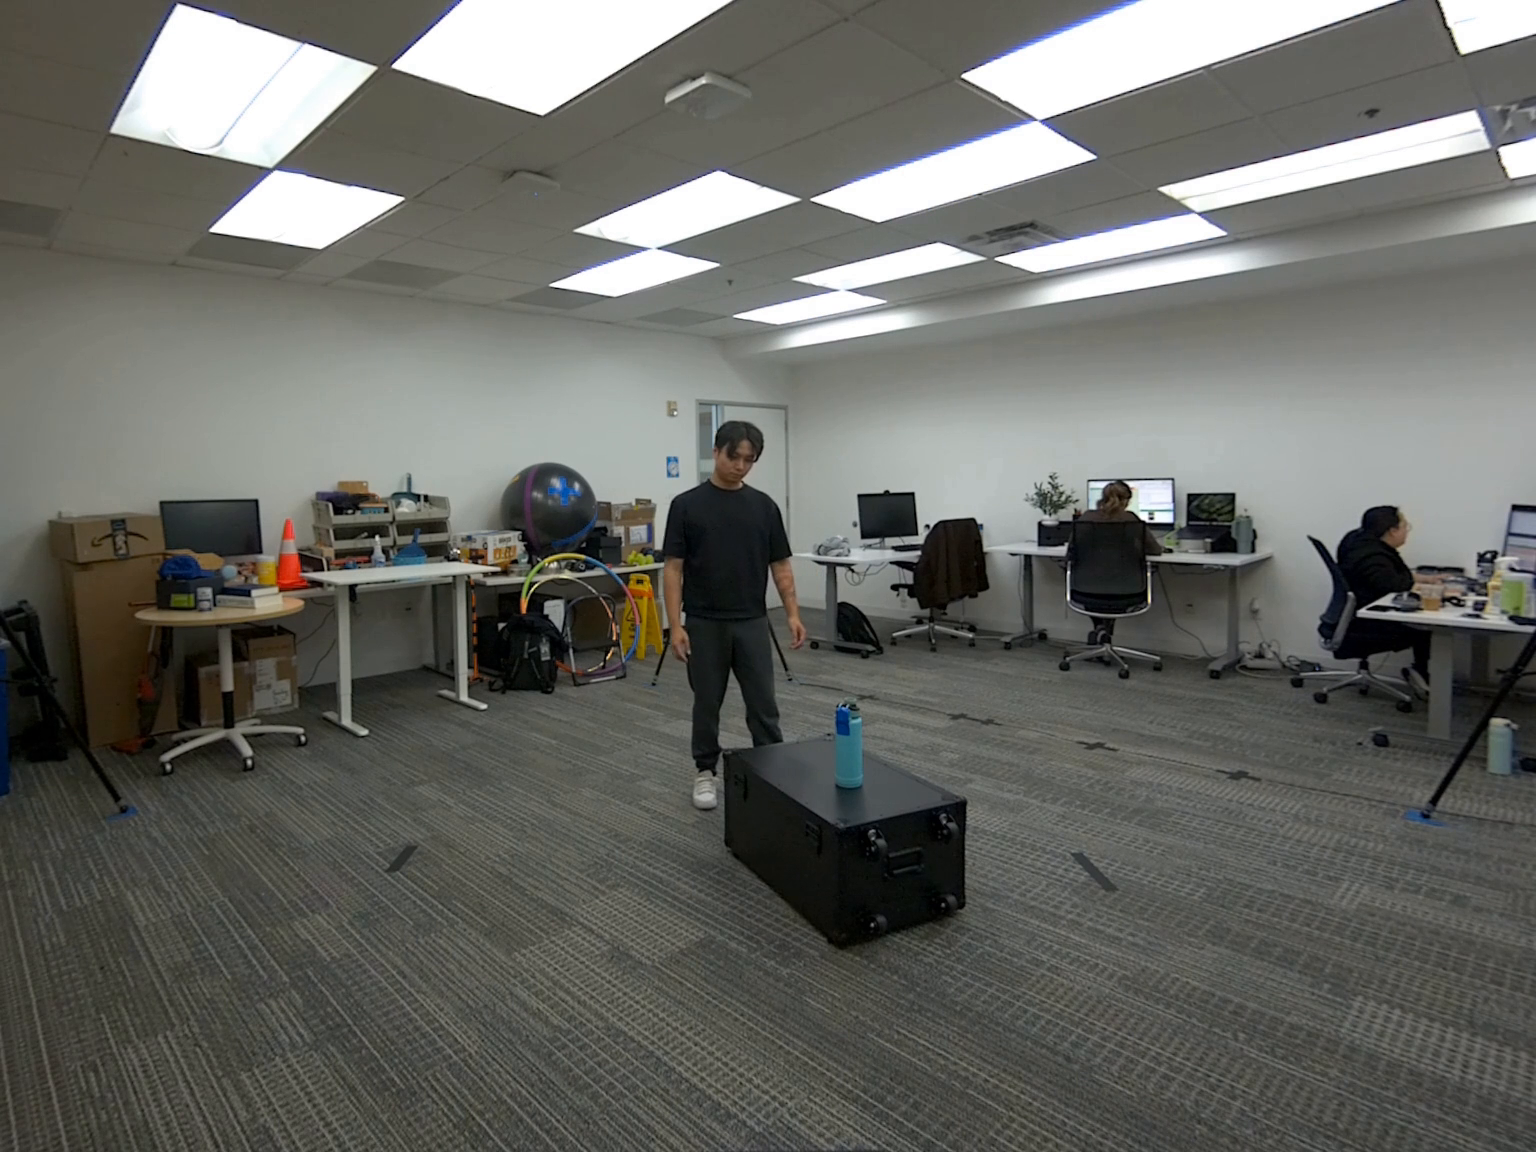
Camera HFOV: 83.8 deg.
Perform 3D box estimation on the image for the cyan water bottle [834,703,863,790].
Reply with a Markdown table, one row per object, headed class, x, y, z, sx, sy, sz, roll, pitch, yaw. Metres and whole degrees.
| class | x | y | z | sx | sy | sz | roll | pitch | yaw |
| --- | --- | --- | --- | --- | --- | --- | --- | --- | --- |
| cyan water bottle | 0.272 | 0.558 | 2.849 | 0.092 | 0.282 | 0.093 | -1 | 6 | -2 |
